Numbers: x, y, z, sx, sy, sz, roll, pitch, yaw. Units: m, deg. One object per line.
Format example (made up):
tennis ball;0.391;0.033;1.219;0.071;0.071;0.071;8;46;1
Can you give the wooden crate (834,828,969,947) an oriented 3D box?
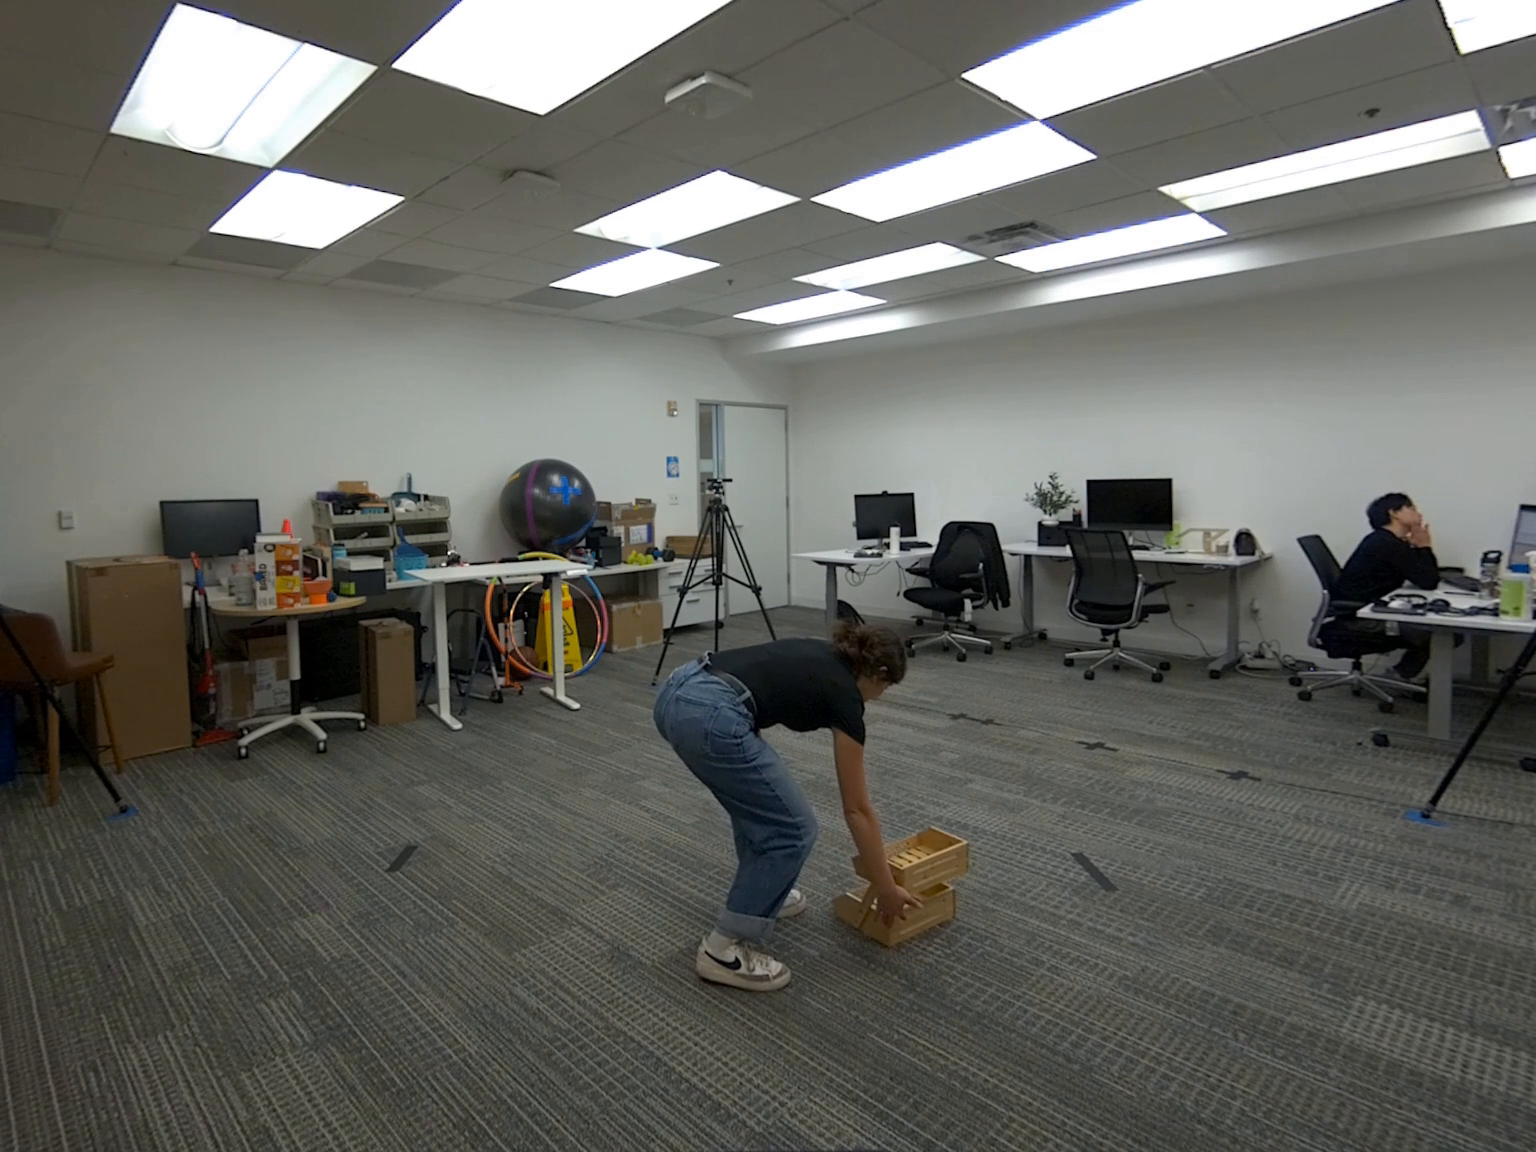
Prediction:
wooden crate;0.417;0.948;2.694;0.316;0.272;0.311;-5;7;-38
